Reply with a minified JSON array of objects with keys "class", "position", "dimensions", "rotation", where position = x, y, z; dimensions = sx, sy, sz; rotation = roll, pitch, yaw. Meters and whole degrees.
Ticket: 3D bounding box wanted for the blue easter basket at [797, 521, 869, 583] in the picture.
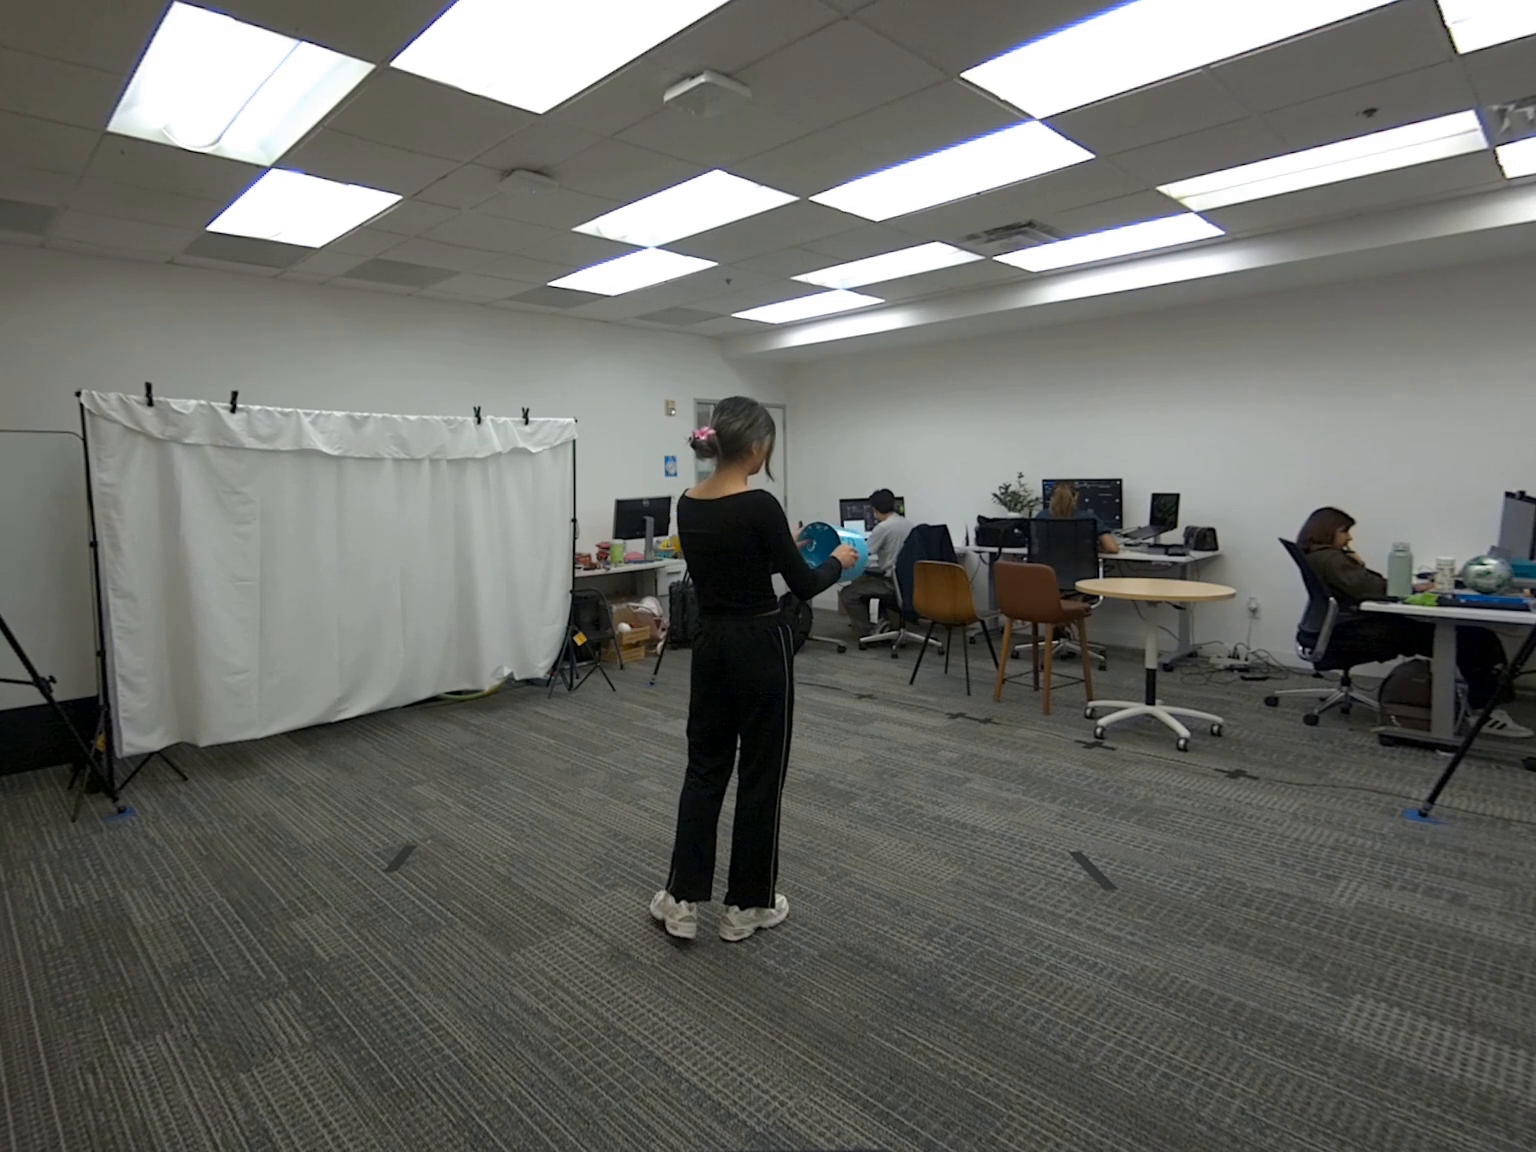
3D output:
[{"class":"blue easter basket","position":[0.233,-0.071,2.929],"dimensions":[0.151,0.243,0.251],"rotation":[1,3,-39]}]
